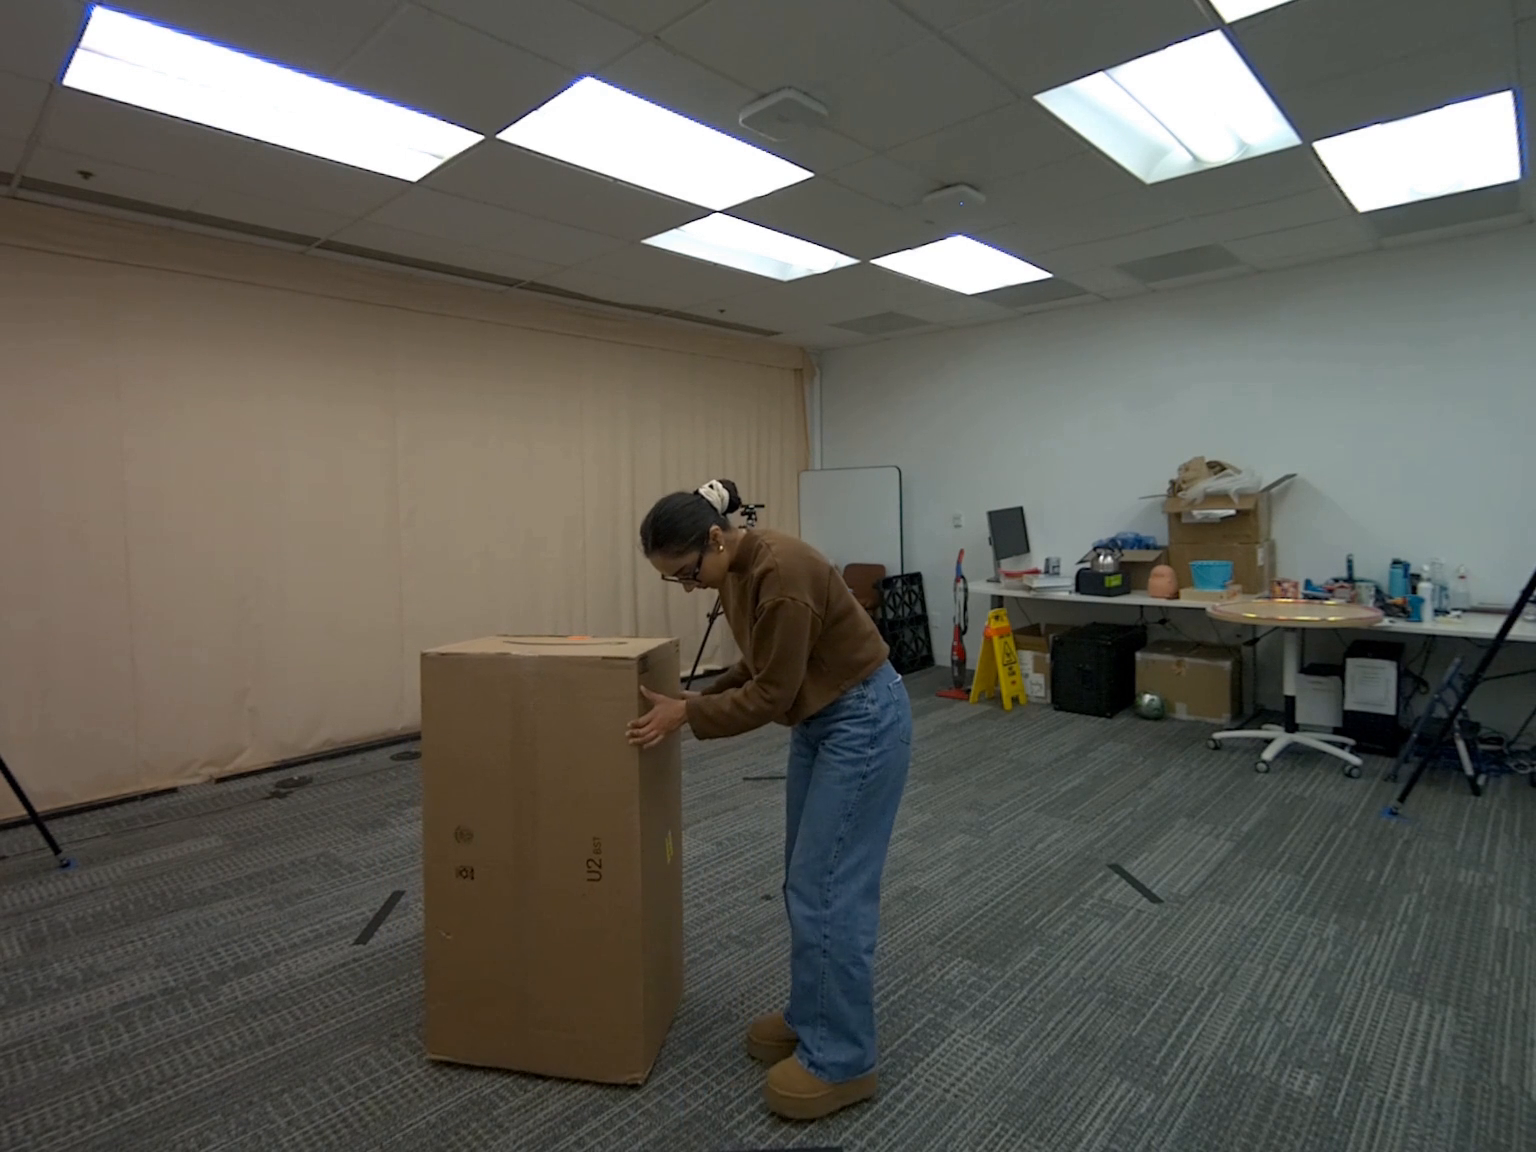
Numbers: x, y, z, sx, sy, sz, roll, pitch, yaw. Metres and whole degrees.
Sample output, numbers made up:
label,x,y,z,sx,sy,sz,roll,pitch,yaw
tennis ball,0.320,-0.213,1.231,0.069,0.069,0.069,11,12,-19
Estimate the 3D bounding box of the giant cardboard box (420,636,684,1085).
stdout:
label,x,y,z,sx,sy,sz,roll,pitch,yaw
giant cardboard box,-0.557,0.697,2.263,0.585,1.026,0.421,0,0,11
